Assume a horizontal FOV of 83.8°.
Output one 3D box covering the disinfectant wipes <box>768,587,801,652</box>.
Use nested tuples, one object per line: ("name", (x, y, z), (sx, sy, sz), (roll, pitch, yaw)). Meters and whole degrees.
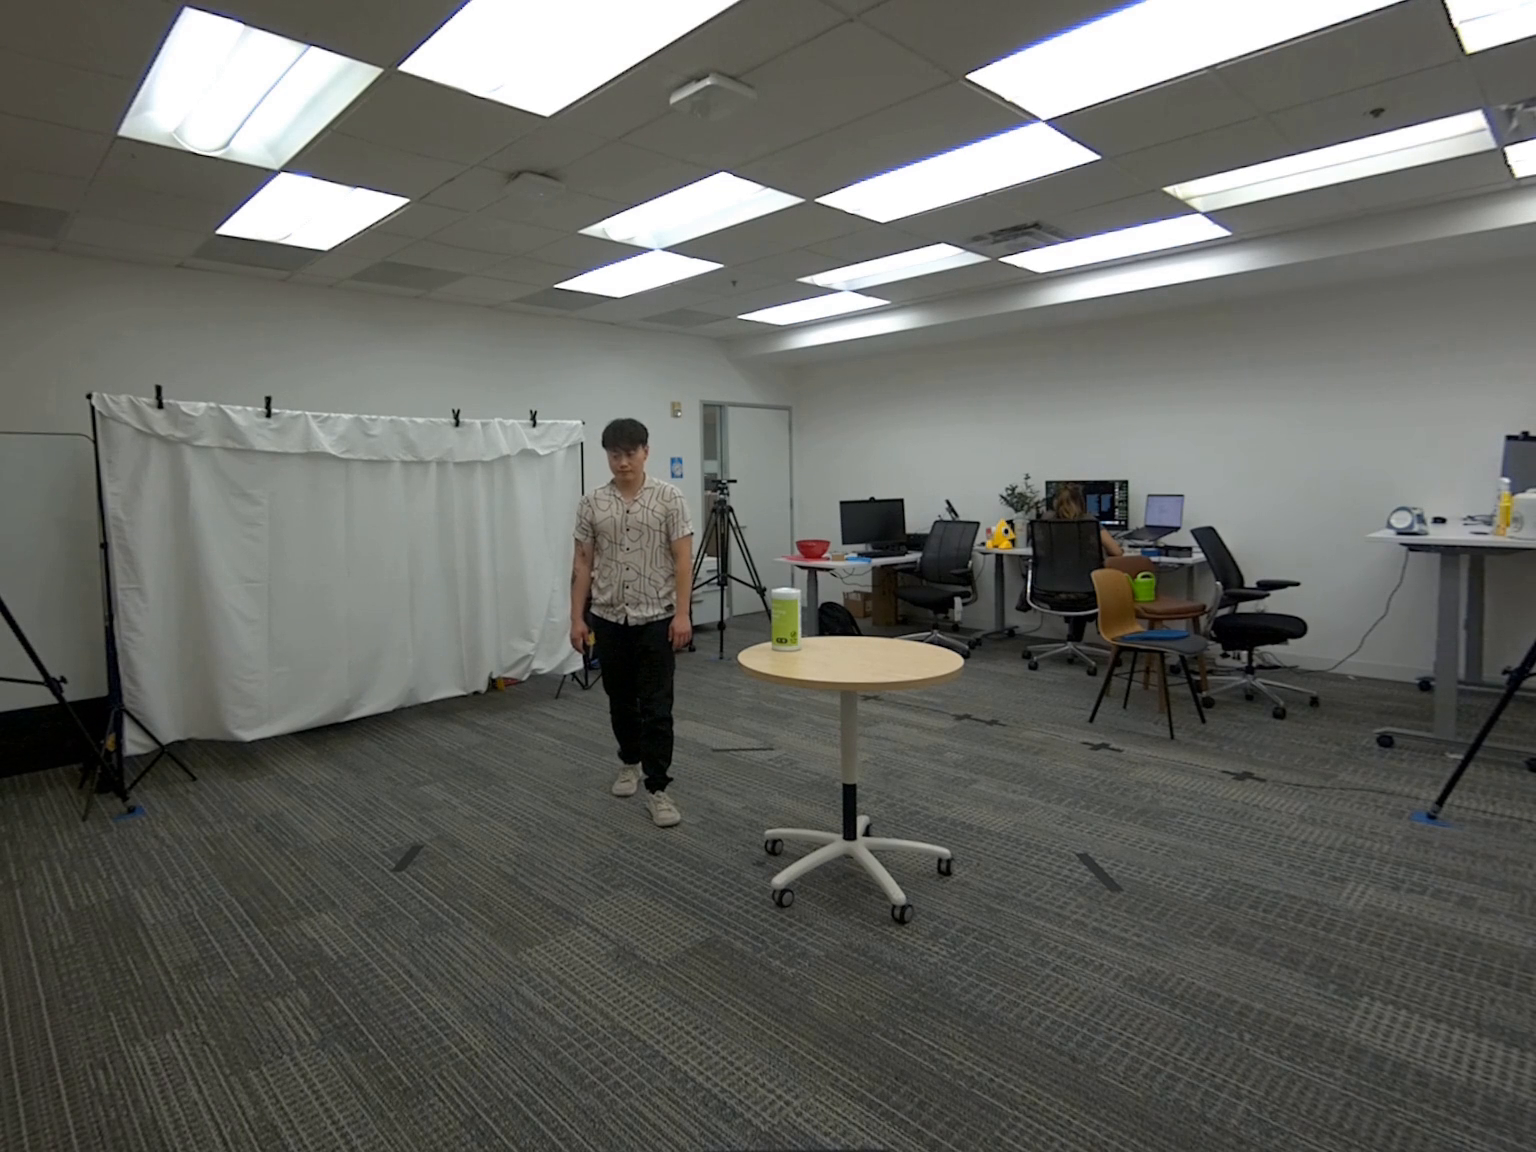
("disinfectant wipes", (0.067, 0.157, 3.085), (0.118, 0.216, 0.118), (-2, 4, -2))
